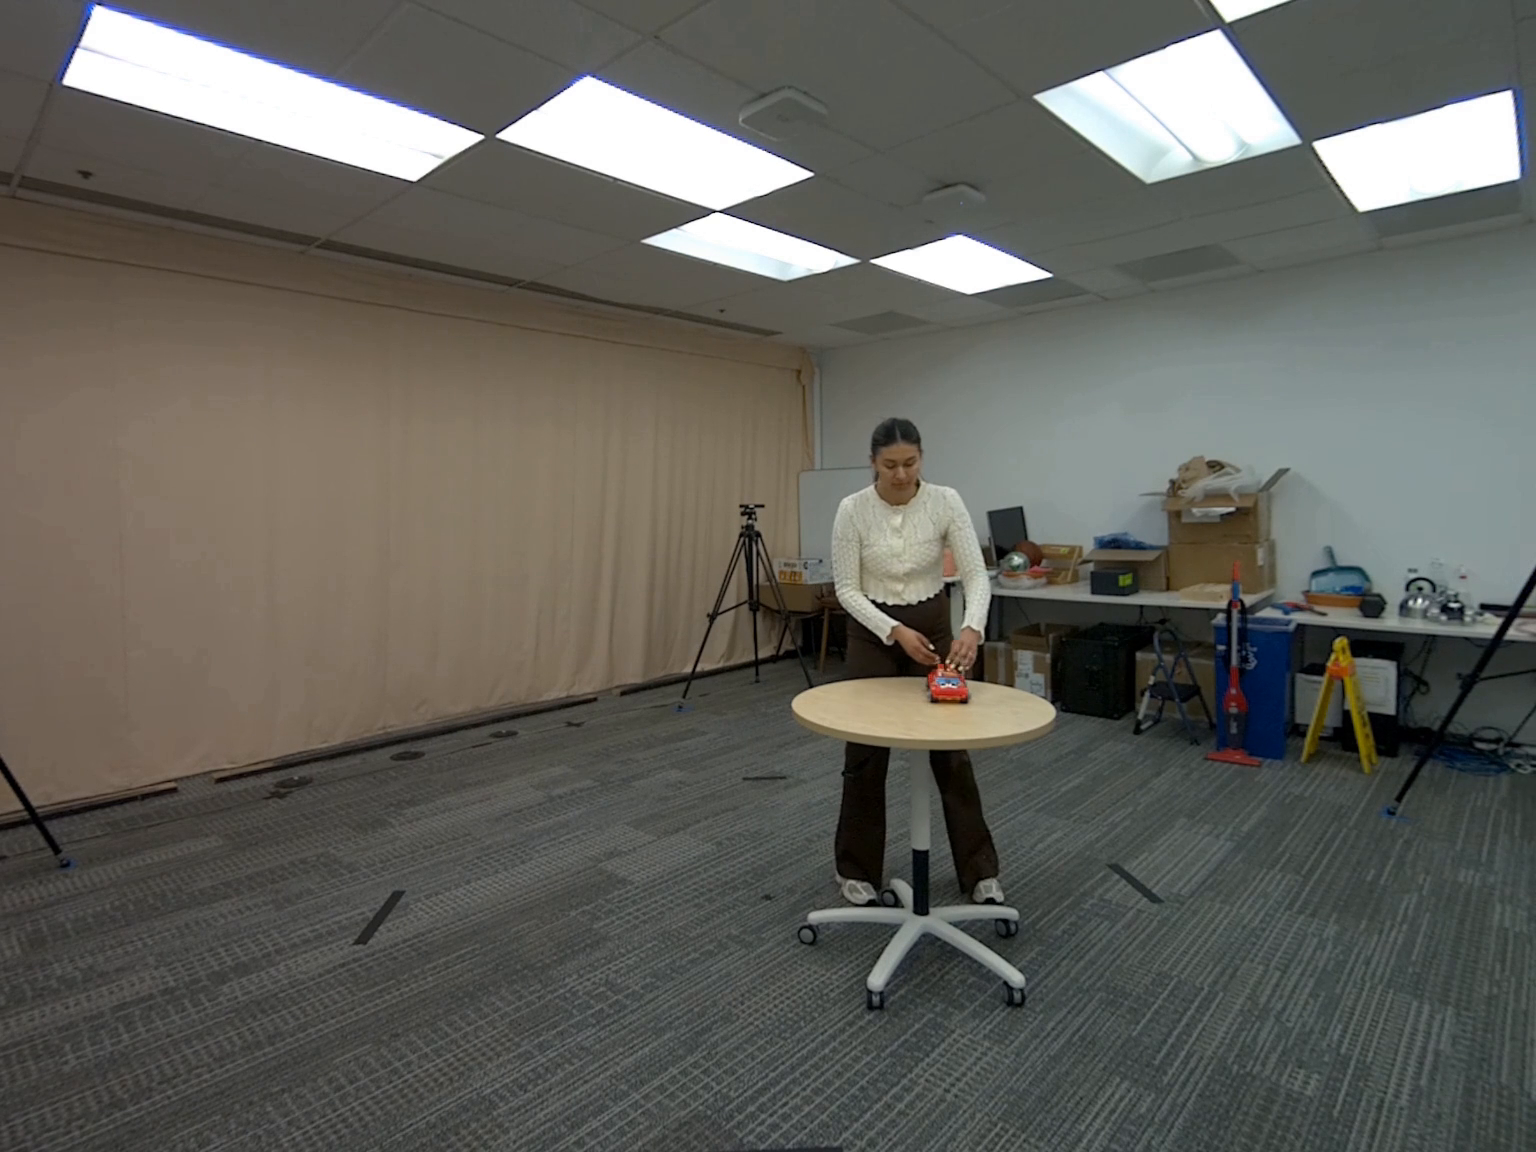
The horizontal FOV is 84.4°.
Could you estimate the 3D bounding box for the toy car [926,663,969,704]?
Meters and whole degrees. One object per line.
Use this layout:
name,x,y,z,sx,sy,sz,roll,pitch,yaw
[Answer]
toy car,0.562,0.341,2.632,0.131,0.082,0.255,-1,17,8
